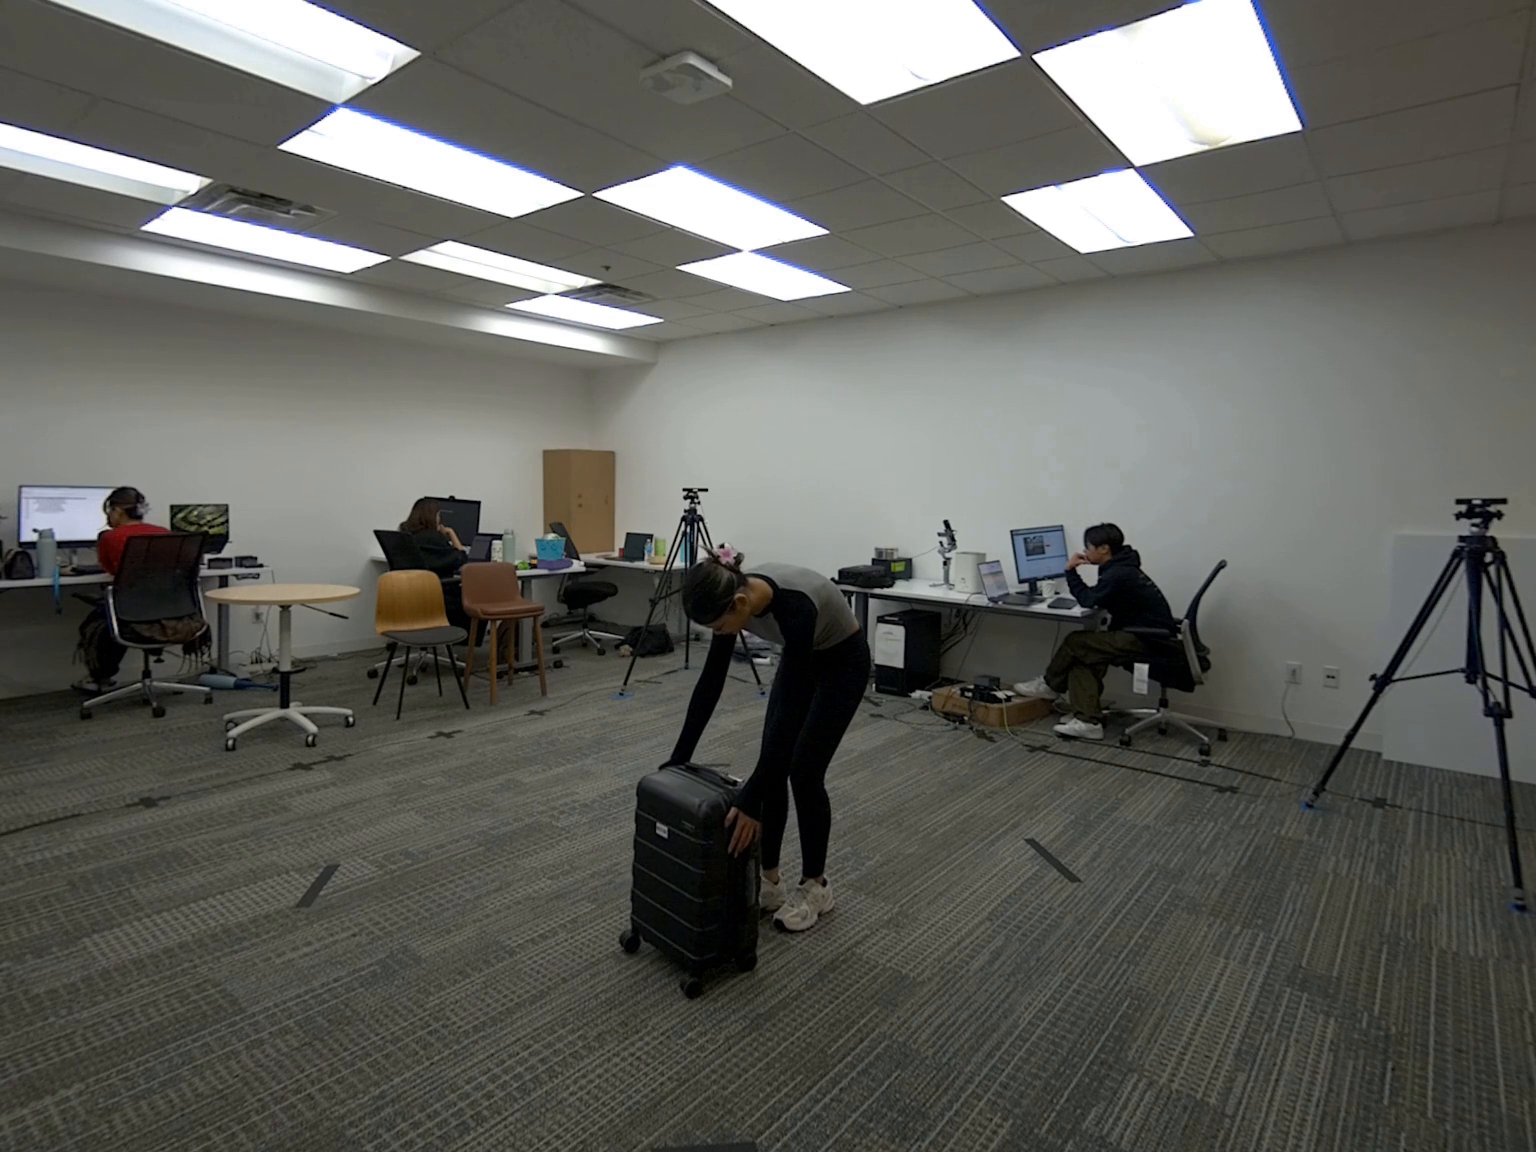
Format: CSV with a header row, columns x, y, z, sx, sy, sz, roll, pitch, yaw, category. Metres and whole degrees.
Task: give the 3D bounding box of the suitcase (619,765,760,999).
x,y,z,sx,sy,sz,roll,pitch,yaw,category
-0.223,0.856,2.495,0.240,0.548,0.388,0,4,-43,suitcase
